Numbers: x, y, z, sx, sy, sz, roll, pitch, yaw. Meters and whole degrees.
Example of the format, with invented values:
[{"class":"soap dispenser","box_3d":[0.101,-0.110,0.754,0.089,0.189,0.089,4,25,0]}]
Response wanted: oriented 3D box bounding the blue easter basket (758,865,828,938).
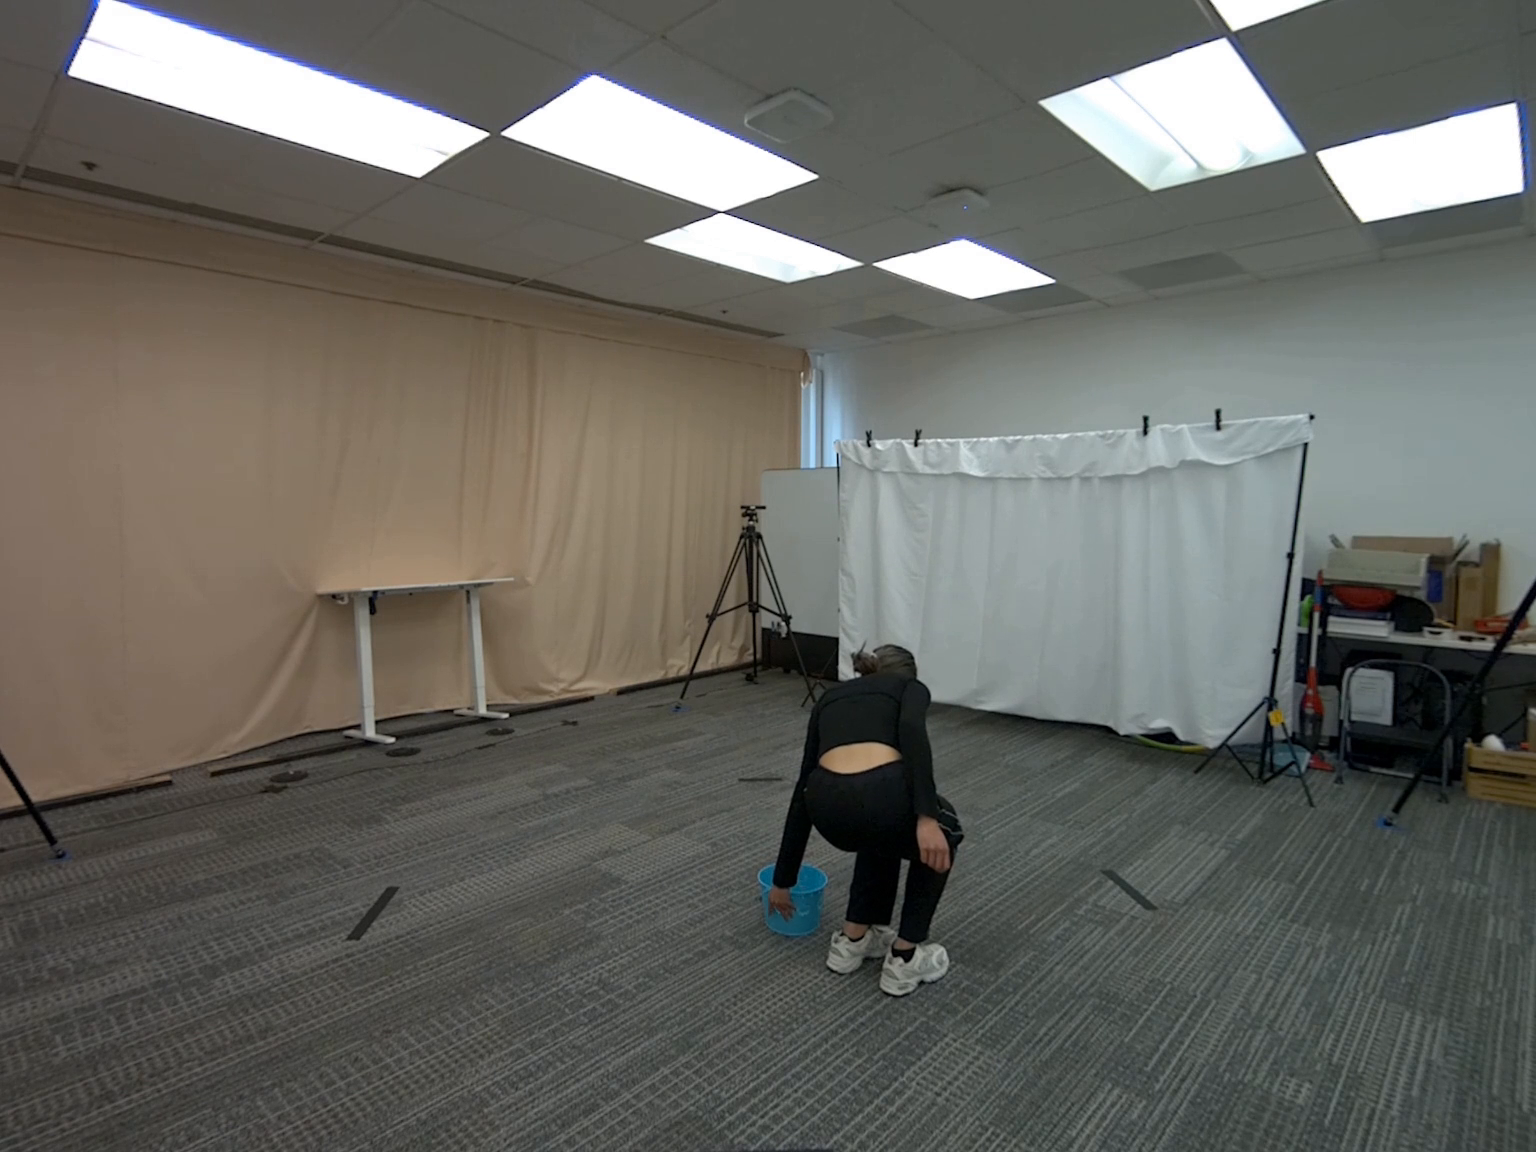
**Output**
[{"class":"blue easter basket","box_3d":[0.083,1.080,2.817,0.243,0.155,0.244,0,5,-2]}]
